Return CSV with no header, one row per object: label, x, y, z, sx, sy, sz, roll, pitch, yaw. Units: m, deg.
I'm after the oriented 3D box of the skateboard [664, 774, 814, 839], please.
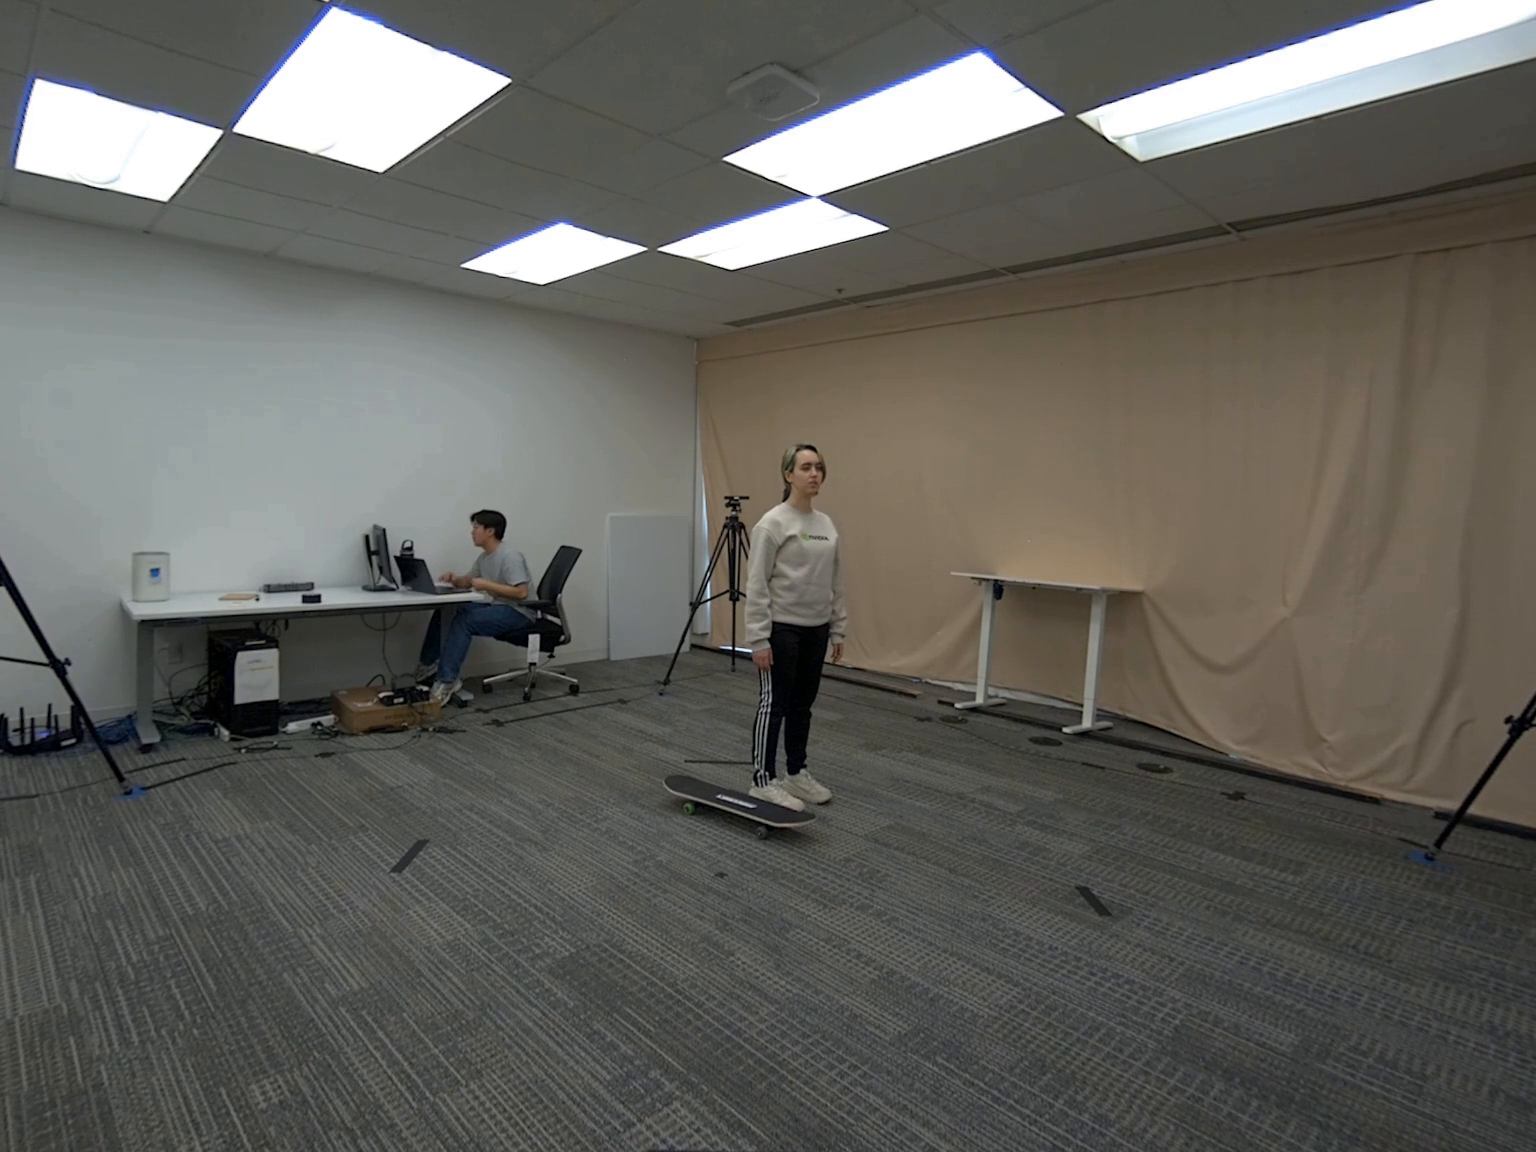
skateboard,-0.146,1.002,3.634,0.805,0.110,0.189,6,5,37
